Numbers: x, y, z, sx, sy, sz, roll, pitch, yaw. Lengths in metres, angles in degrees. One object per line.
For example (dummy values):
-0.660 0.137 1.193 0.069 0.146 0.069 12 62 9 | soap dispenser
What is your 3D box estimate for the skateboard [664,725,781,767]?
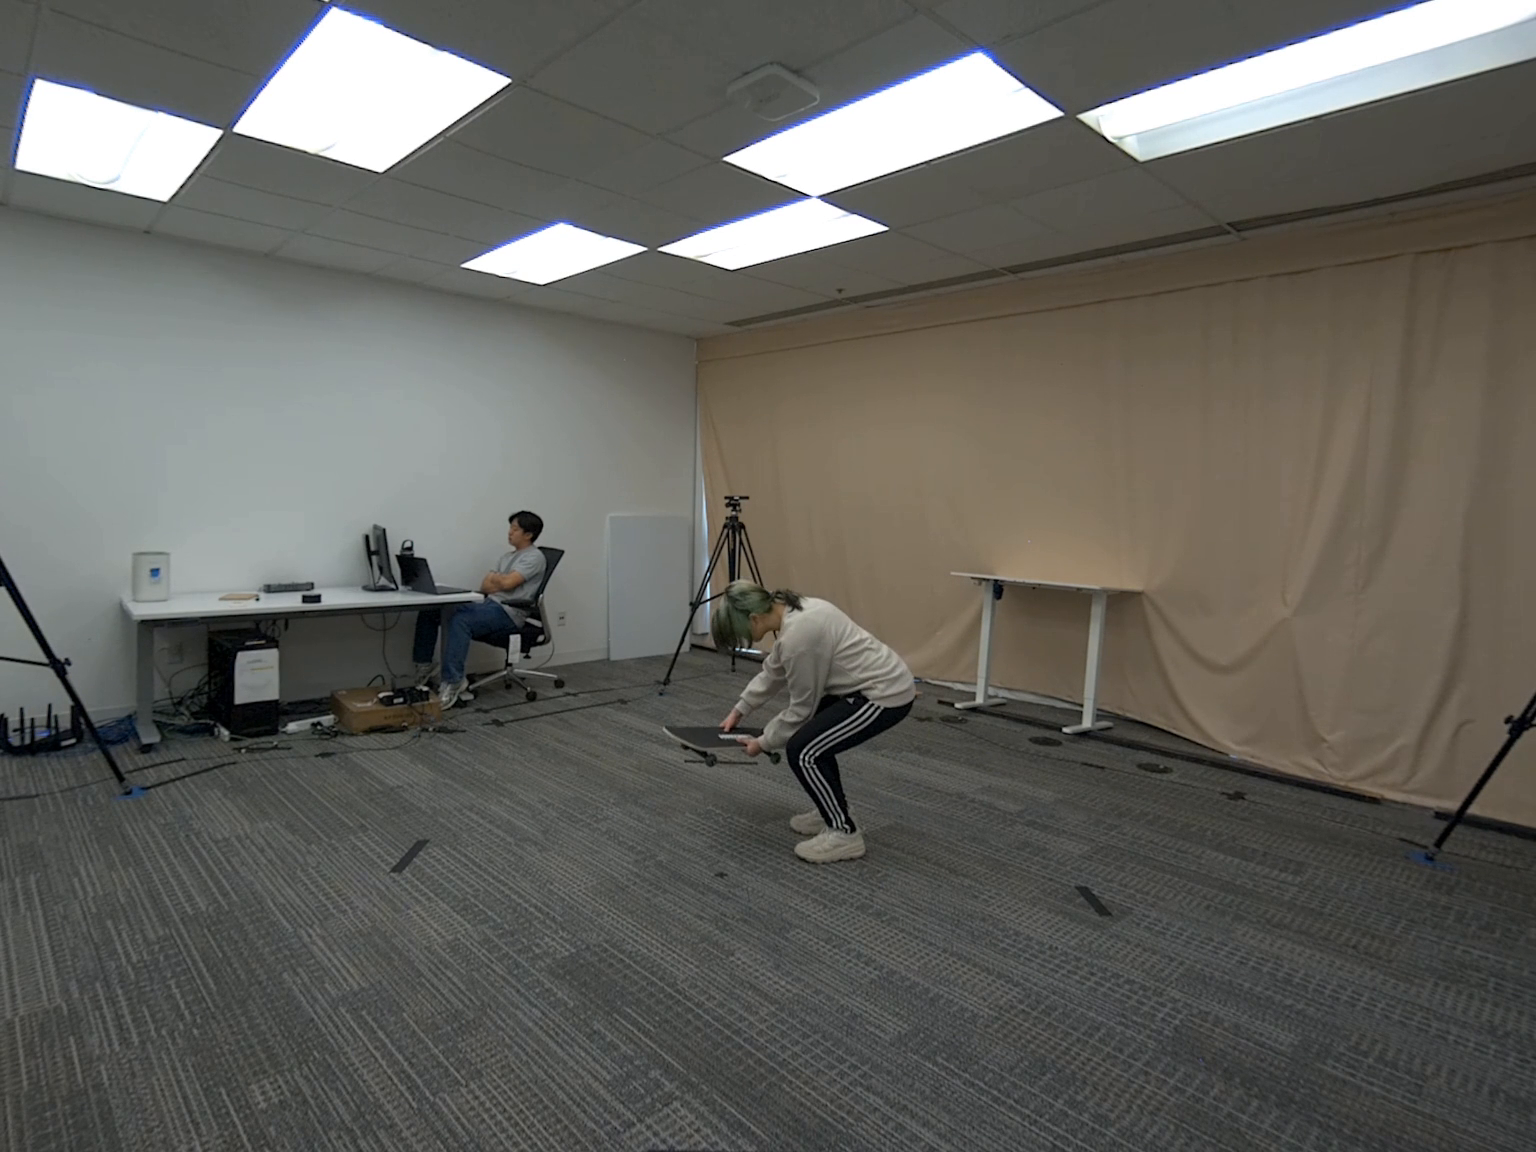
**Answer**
-0.137 0.706 3.510 0.763 0.110 0.199 12 9 -46 | skateboard
